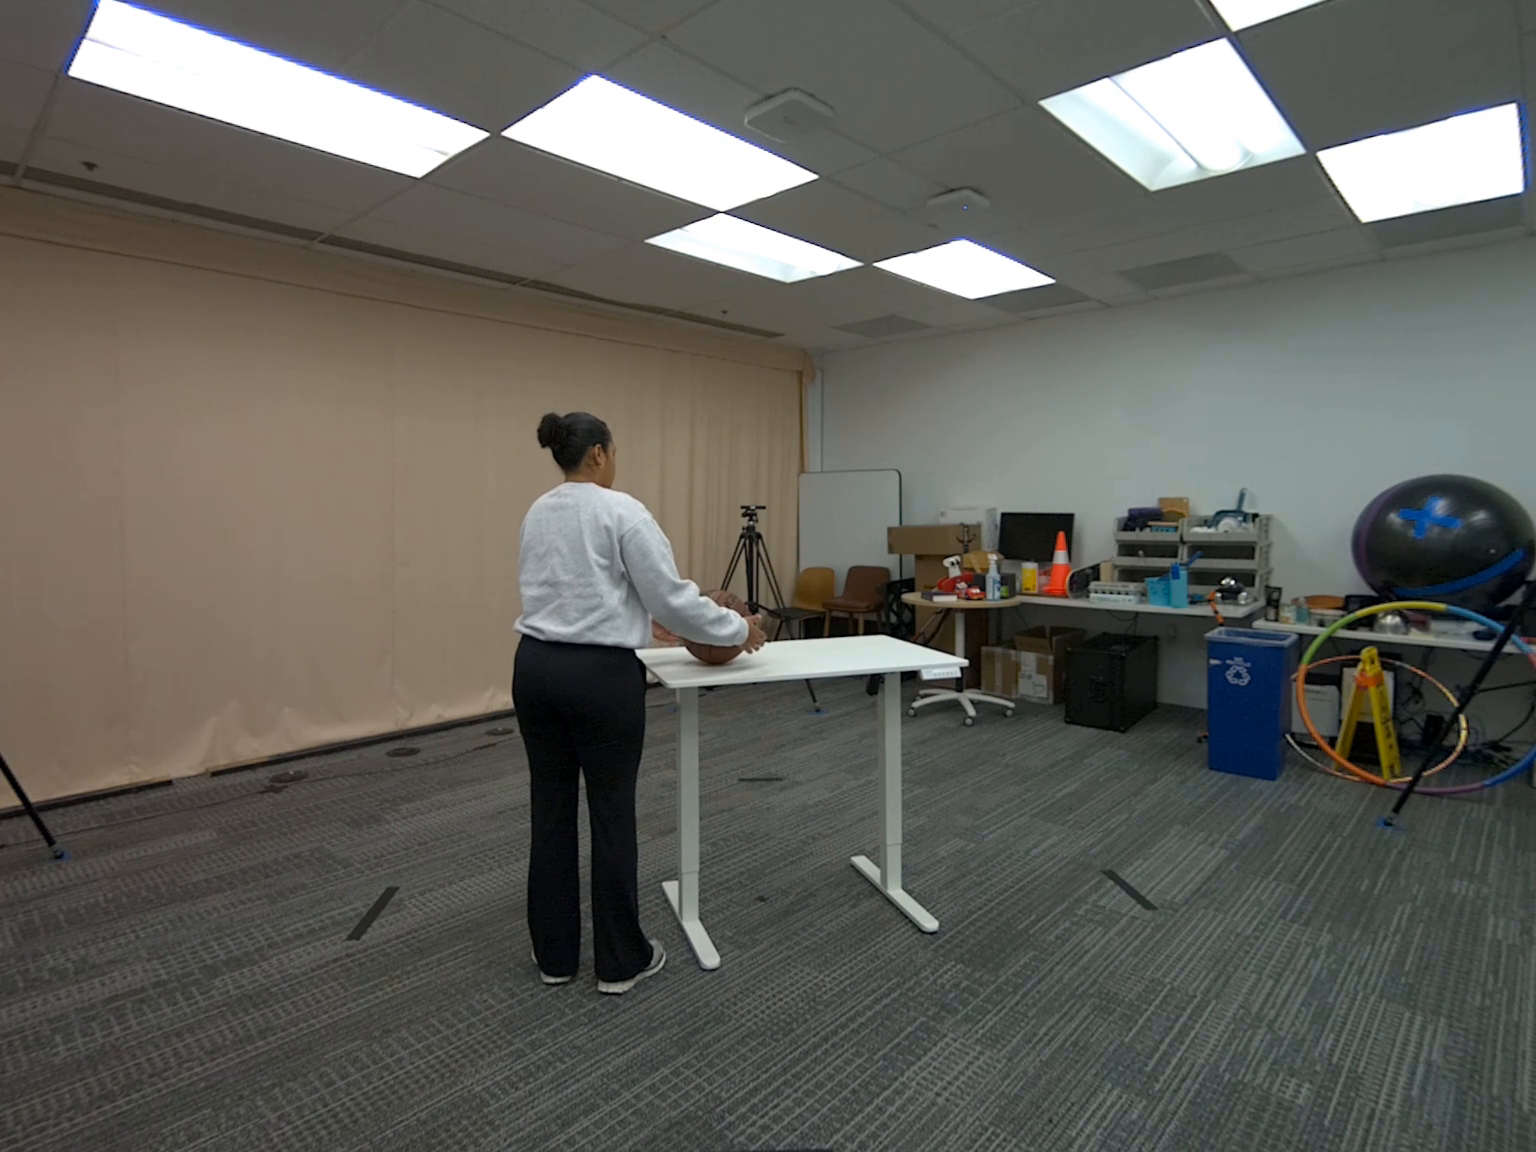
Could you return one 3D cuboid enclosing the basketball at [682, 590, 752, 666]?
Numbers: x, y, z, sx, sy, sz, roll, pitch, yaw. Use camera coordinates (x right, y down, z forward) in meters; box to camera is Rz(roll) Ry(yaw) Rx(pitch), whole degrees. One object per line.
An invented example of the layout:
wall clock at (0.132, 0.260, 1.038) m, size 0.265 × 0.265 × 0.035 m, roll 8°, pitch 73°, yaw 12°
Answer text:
basketball at (-0.163, 0.165, 2.738) m, size 0.236 × 0.235 × 0.237 m, roll 0°, pitch 4°, yaw -2°
